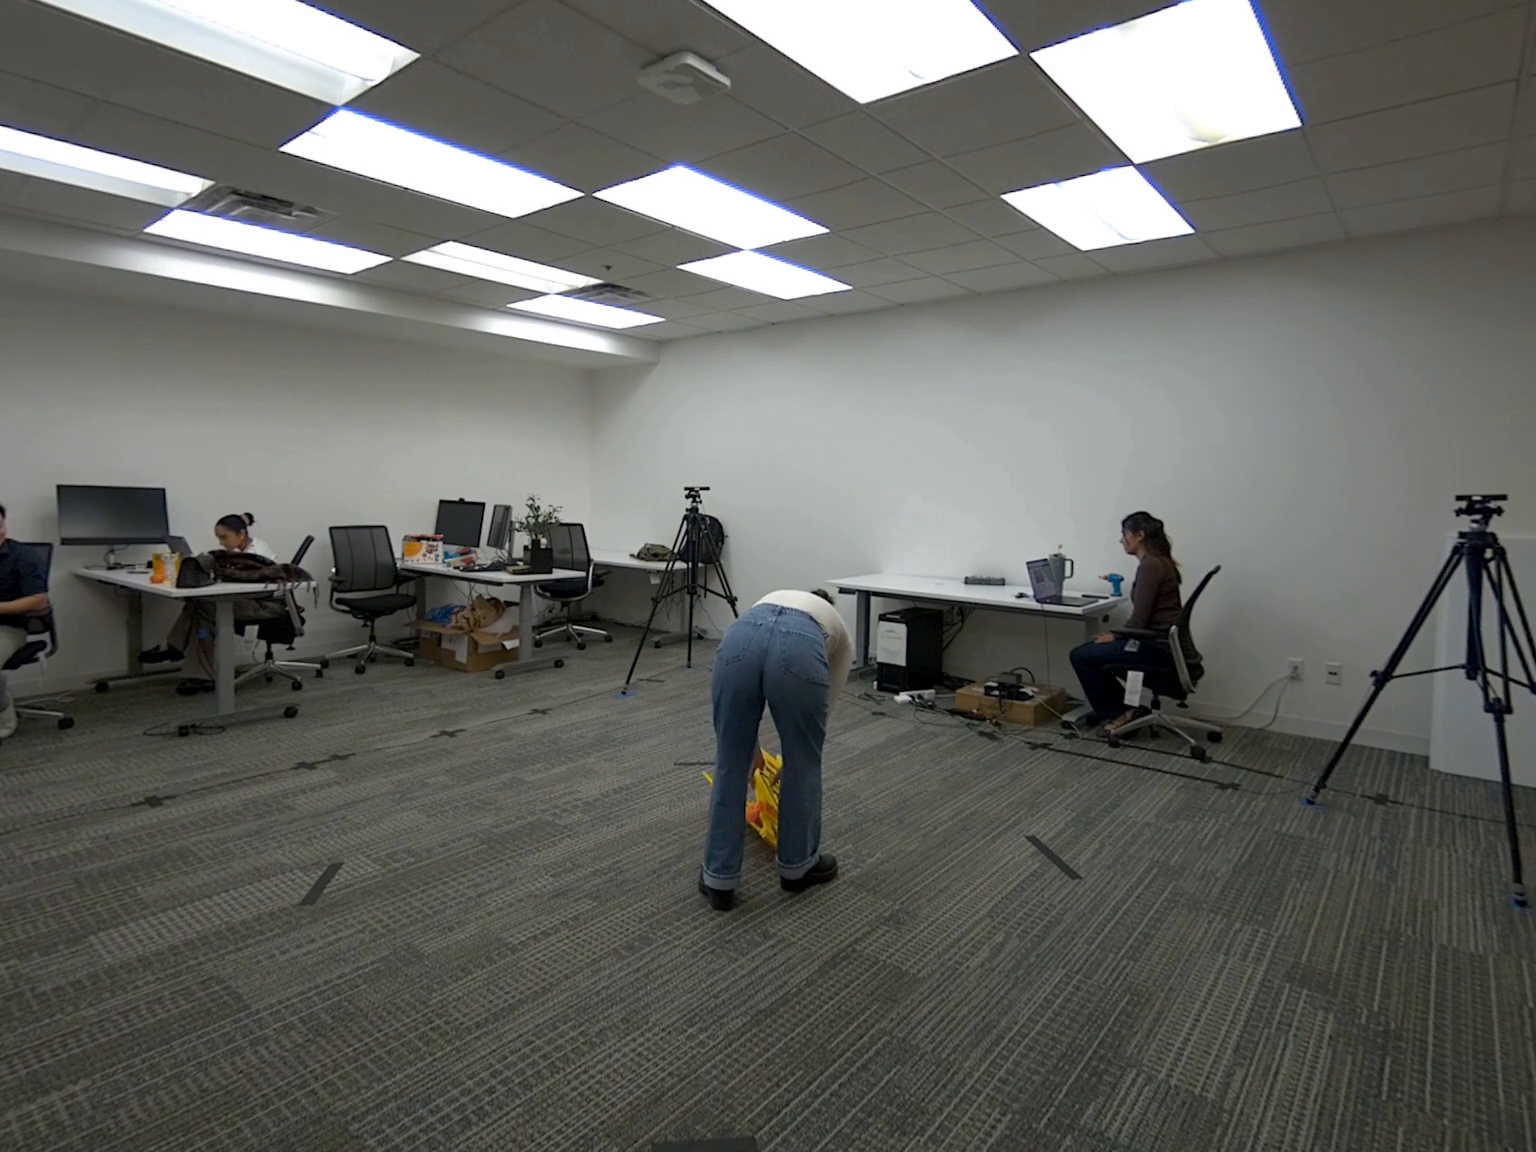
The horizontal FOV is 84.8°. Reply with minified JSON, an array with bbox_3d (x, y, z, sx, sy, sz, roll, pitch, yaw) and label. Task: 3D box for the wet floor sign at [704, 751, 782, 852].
[{"bbox_3d":[-0.022,0.908,3.403,0.275,0.290,0.663,41,2,-20],"label":"wet floor sign"}]
